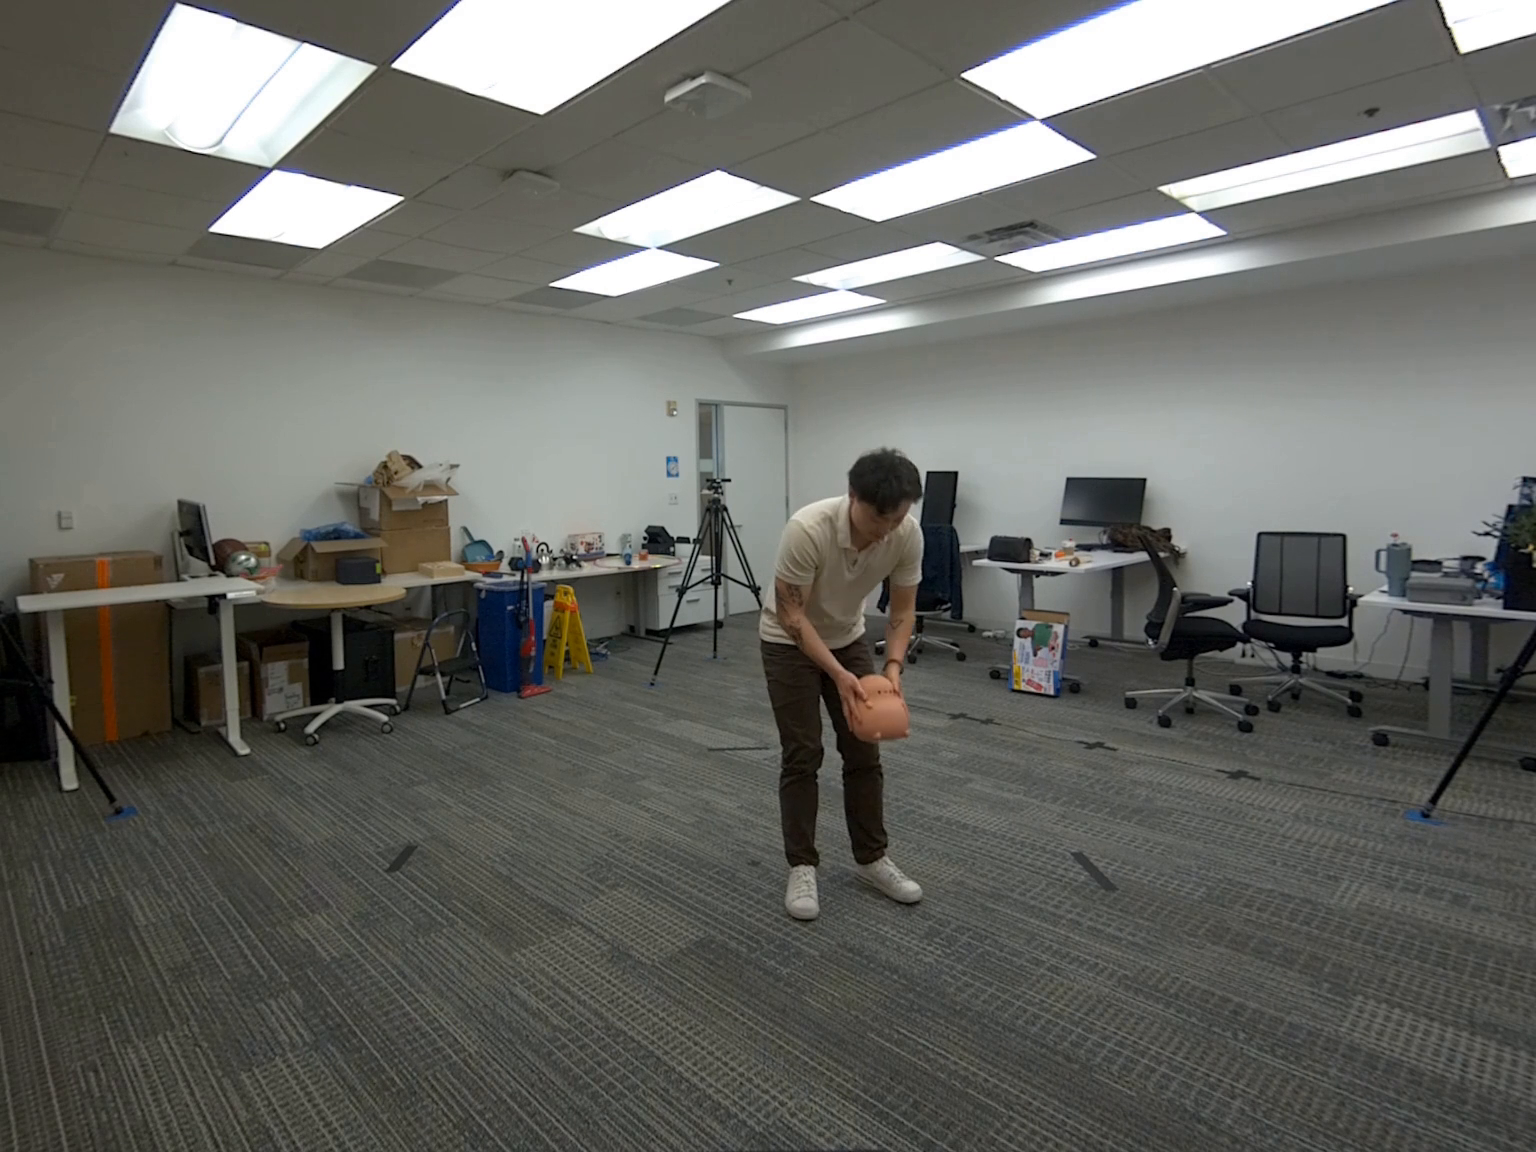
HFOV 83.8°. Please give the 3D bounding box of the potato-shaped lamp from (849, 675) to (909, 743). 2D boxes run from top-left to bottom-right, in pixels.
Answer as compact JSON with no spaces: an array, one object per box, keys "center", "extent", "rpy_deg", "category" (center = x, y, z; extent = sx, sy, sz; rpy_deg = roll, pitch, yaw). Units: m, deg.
[{"center":[0.335,0.405,2.583],"extent":[0.161,0.201,0.172],"rpy_deg":[-1,-15,-24],"category":"potato-shaped lamp"}]
